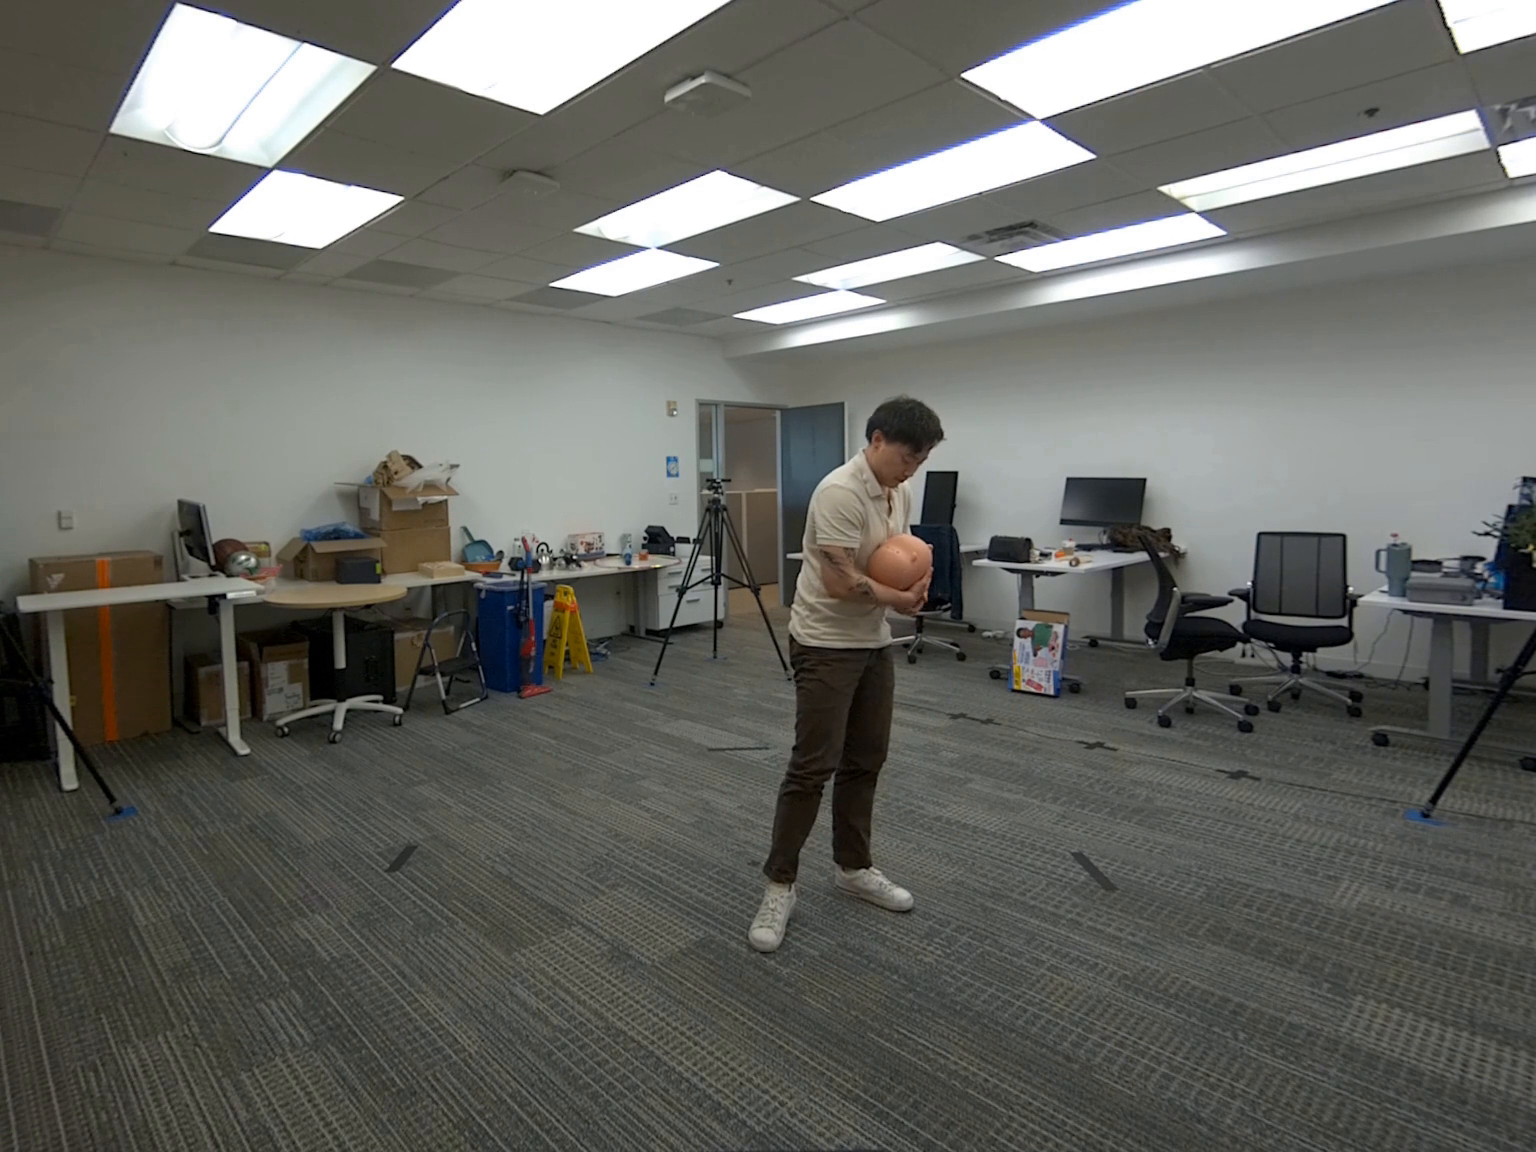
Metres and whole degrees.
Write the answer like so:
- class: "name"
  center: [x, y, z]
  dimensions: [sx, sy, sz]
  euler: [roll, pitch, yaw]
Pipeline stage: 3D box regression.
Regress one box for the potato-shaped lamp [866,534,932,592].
- class: "potato-shaped lamp"
  center: [0.393, -0.030, 2.647]
  dimensions: [0.193, 0.169, 0.171]
  euler: [-11, 32, -42]
